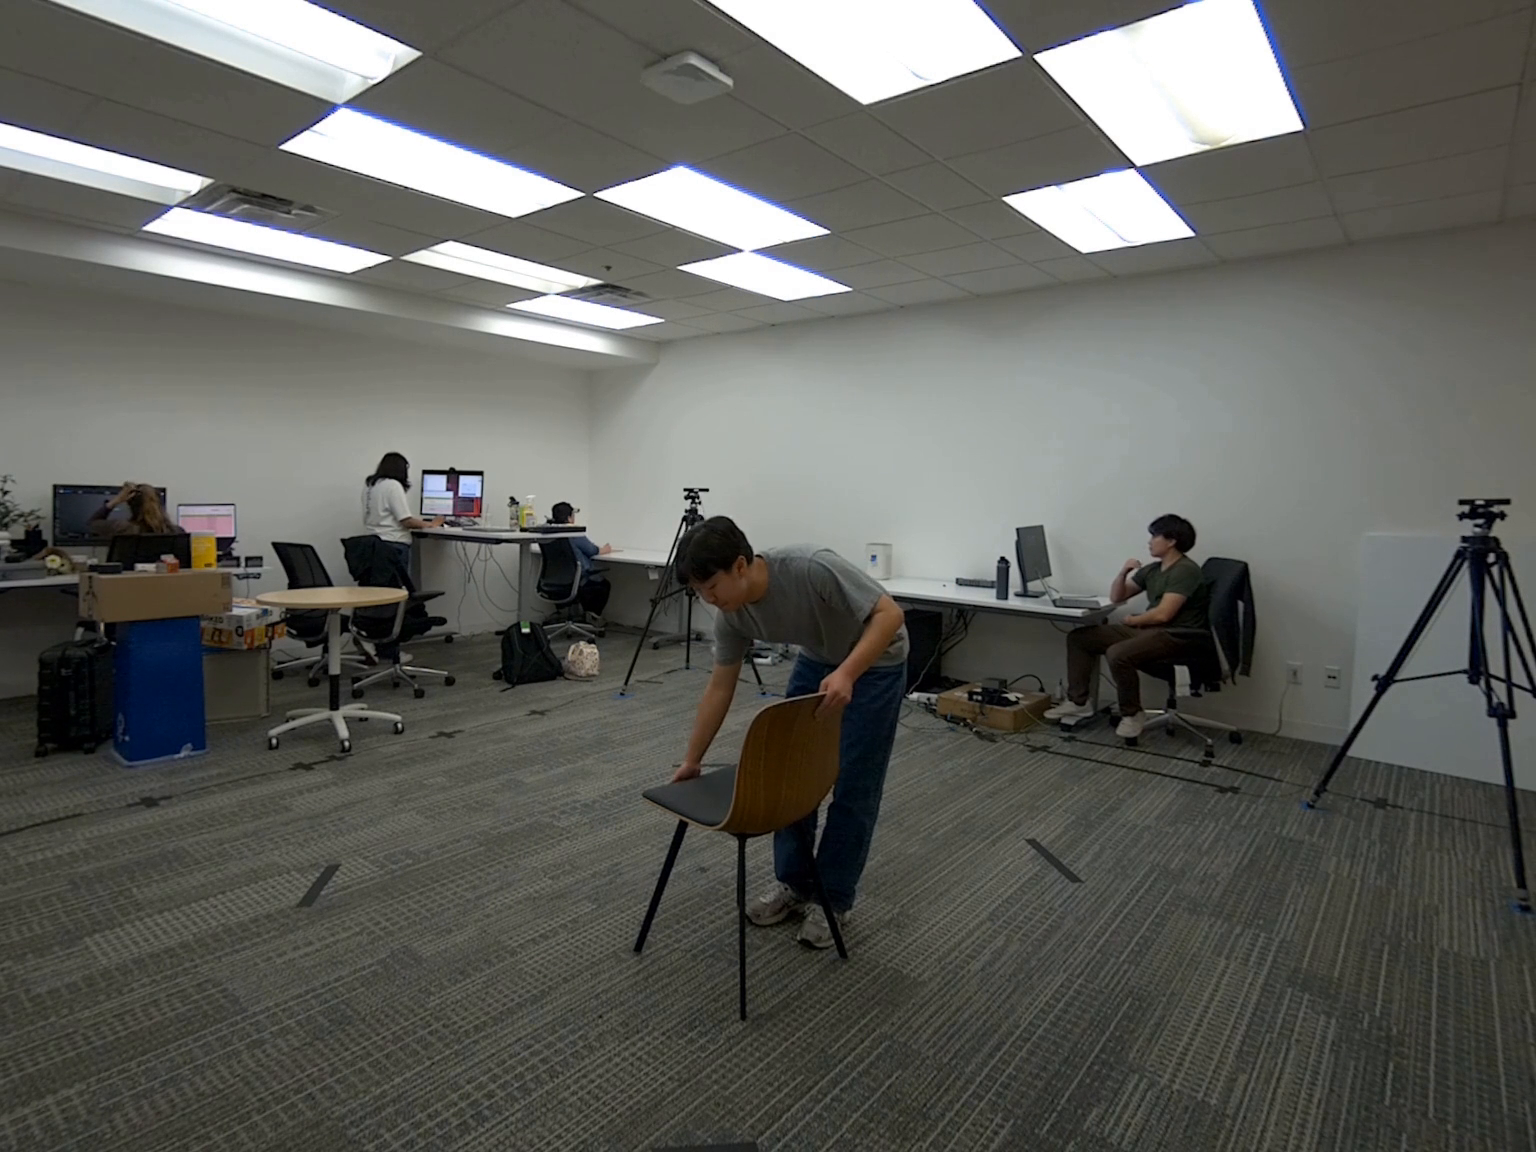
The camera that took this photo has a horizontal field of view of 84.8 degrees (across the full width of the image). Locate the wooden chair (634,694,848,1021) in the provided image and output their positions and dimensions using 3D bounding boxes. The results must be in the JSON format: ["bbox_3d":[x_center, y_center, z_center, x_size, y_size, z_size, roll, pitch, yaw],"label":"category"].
[{"bbox_3d":[-0.090,0.698,2.512,0.542,0.873,0.463,10,8,43],"label":"wooden chair"}]
